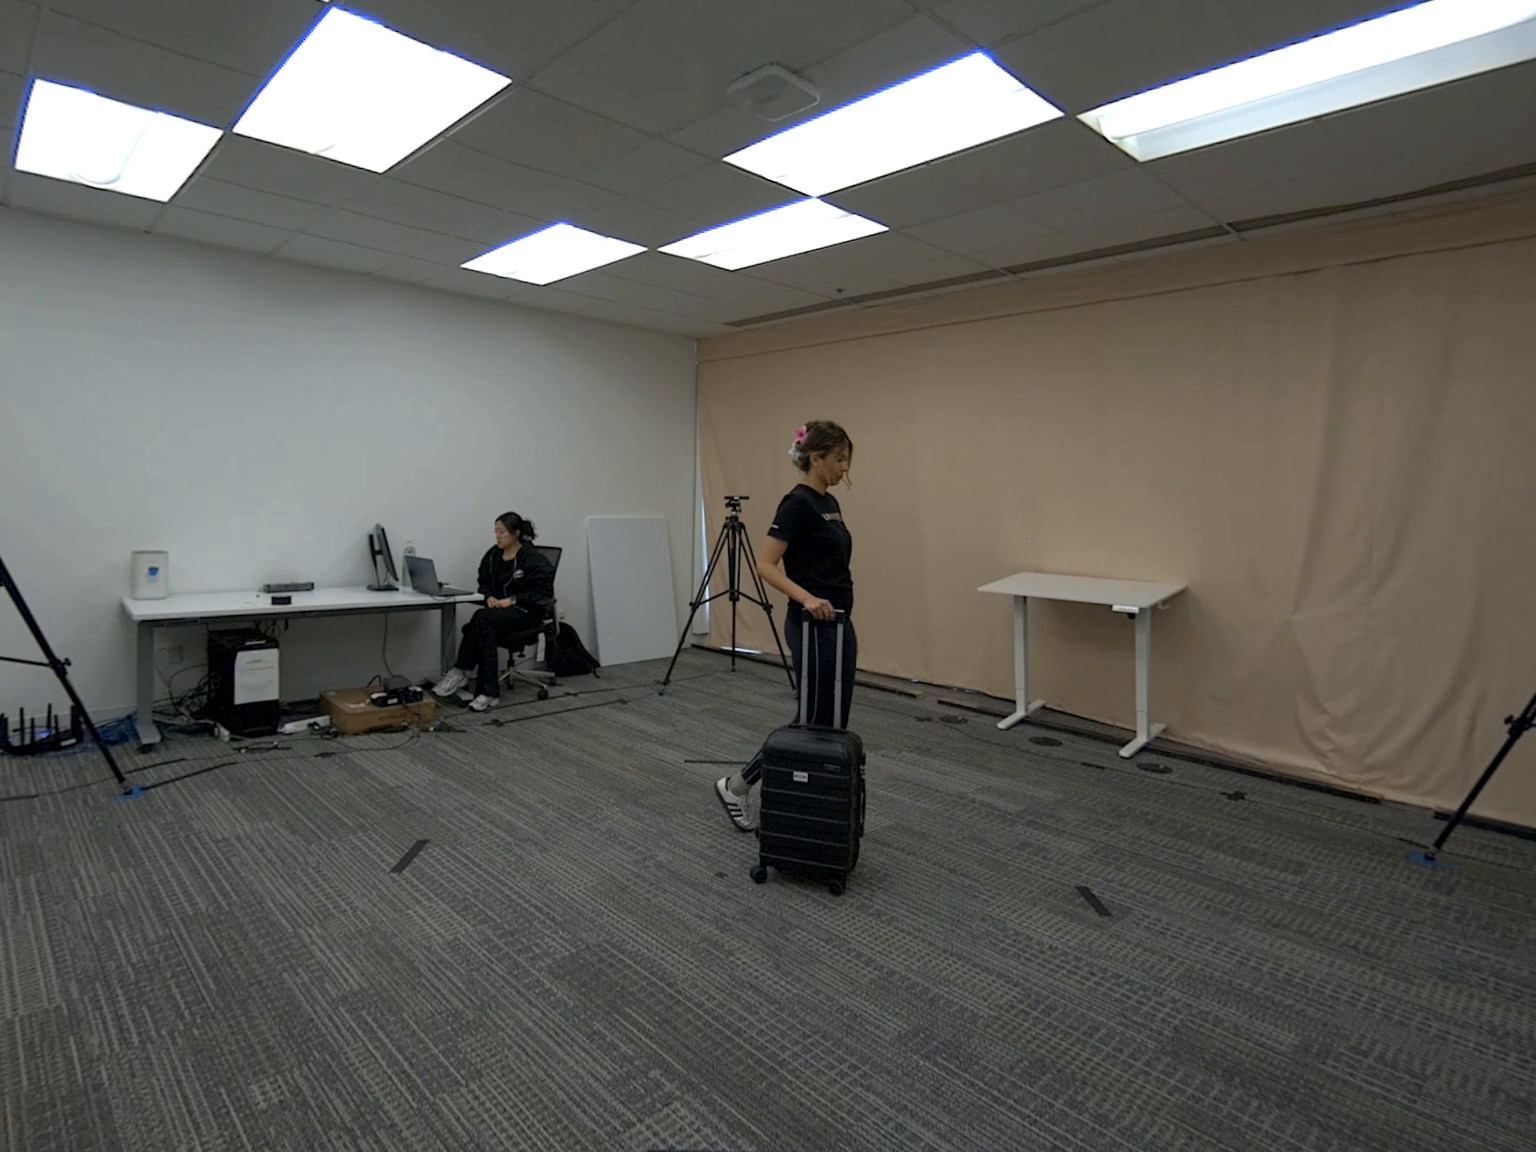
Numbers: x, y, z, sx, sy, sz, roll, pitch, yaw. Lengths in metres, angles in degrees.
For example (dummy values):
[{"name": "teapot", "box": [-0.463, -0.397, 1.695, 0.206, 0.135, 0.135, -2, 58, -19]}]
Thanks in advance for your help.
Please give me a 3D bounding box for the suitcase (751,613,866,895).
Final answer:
[{"name": "suitcase", "box": [0.158, 0.637, 3.072, 0.389, 0.974, 0.254, 4, 6, 17]}]
